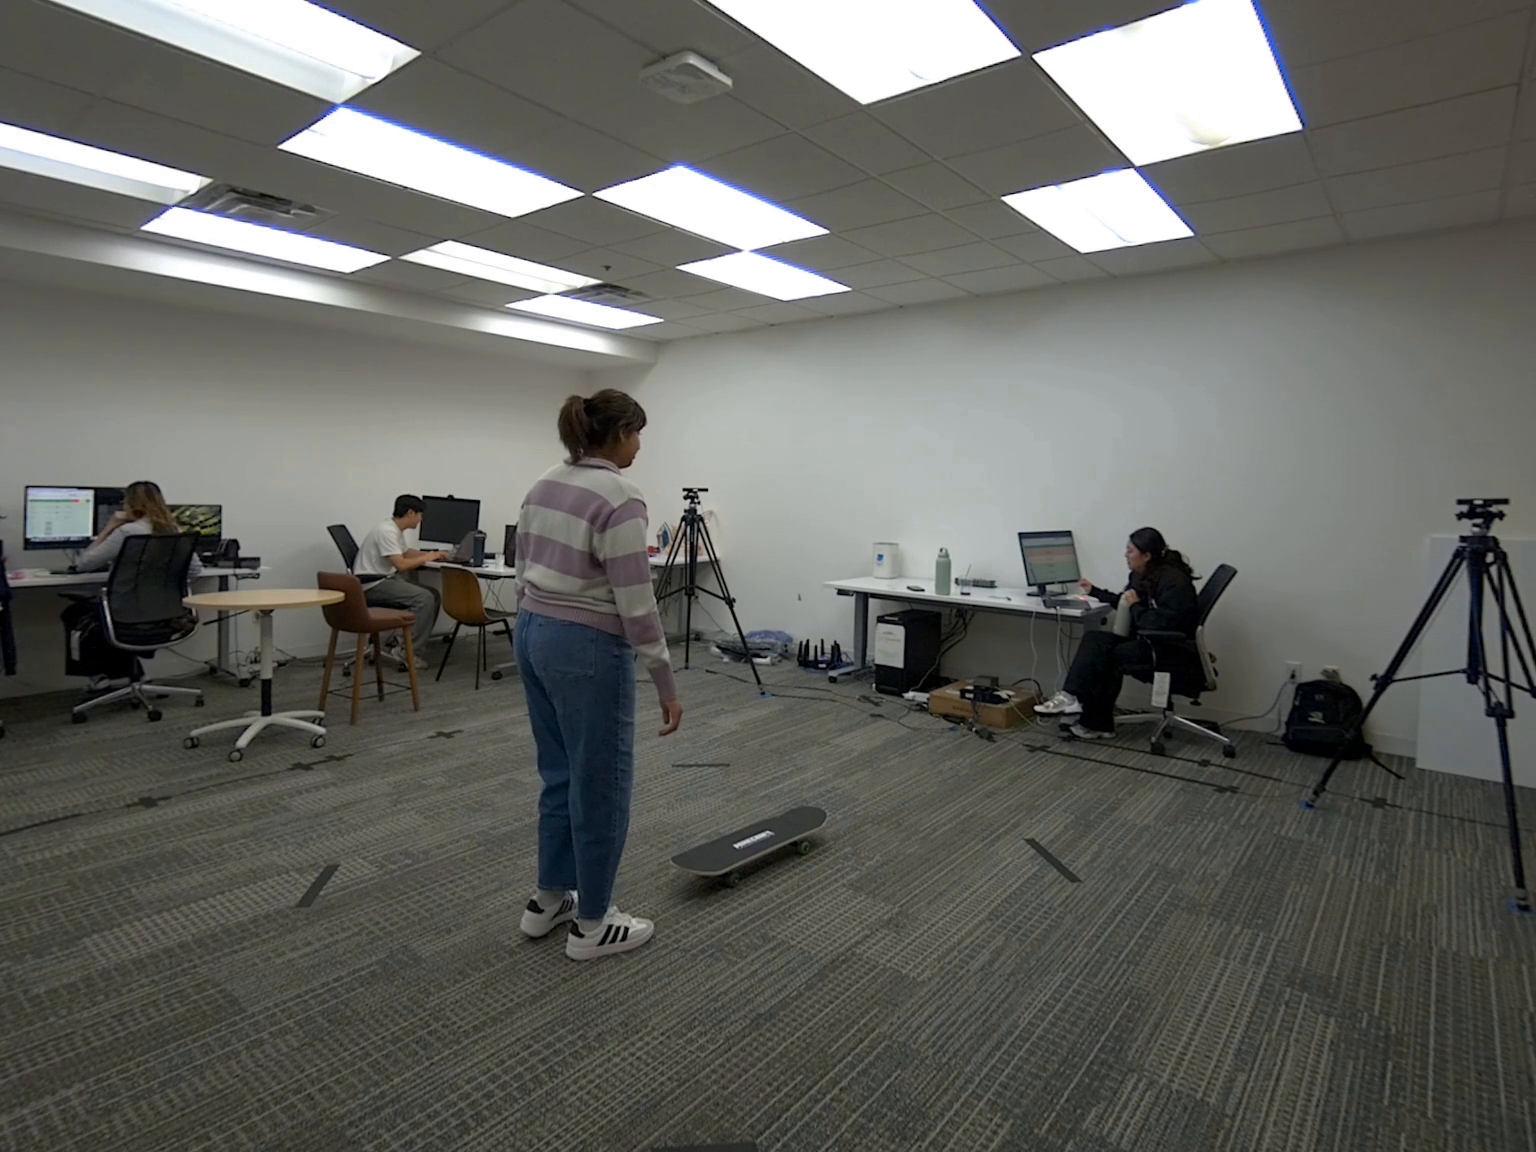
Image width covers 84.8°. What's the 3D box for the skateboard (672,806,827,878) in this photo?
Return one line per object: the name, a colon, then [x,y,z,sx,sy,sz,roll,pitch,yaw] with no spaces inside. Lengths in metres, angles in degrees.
skateboard: [-0.059,1.011,3.175,0.200,0.110,0.762,7,8,42]
